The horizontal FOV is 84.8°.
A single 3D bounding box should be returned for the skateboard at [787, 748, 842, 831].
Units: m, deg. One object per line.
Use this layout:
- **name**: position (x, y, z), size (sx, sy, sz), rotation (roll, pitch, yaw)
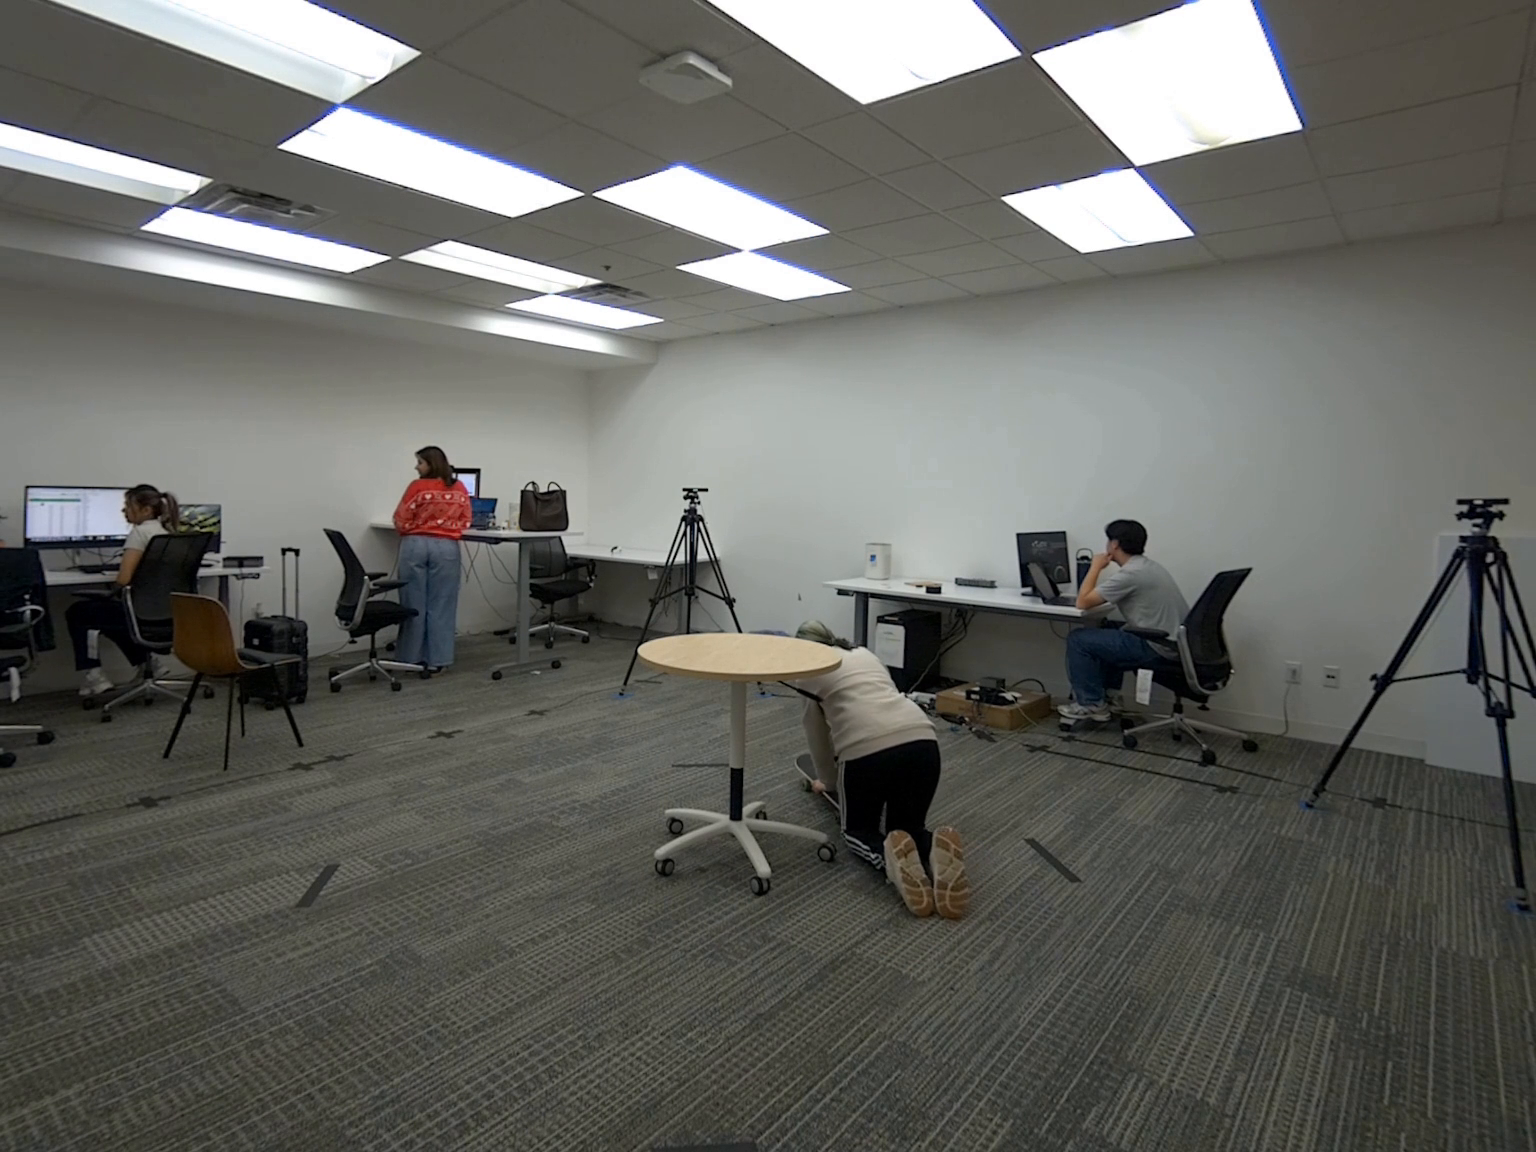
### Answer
- **skateboard**: position (0.303, 0.954, 3.780), size (0.190, 0.110, 0.801), rotation (0, 6, -16)
